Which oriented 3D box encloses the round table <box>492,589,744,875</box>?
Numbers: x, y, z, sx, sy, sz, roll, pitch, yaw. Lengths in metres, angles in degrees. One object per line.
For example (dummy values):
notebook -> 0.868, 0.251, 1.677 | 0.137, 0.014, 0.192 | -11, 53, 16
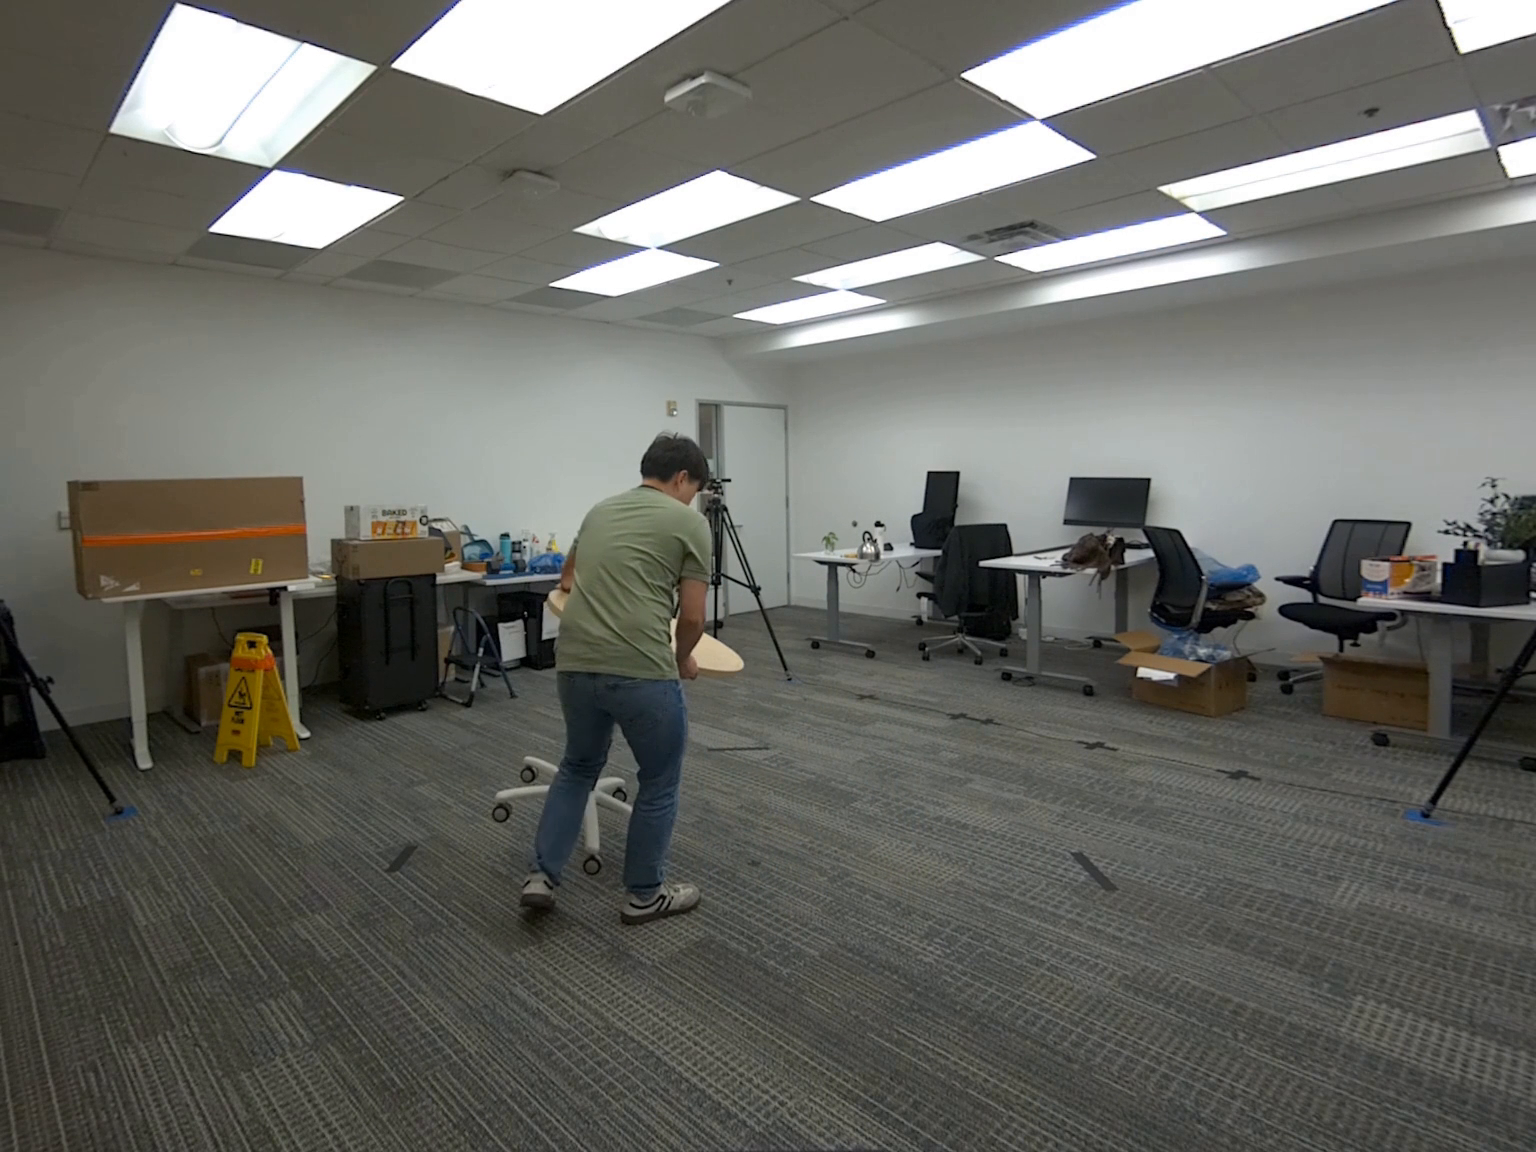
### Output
round table -> -0.592, 0.561, 3.199 | 0.762, 0.792, 0.768 | 20, 4, -3
